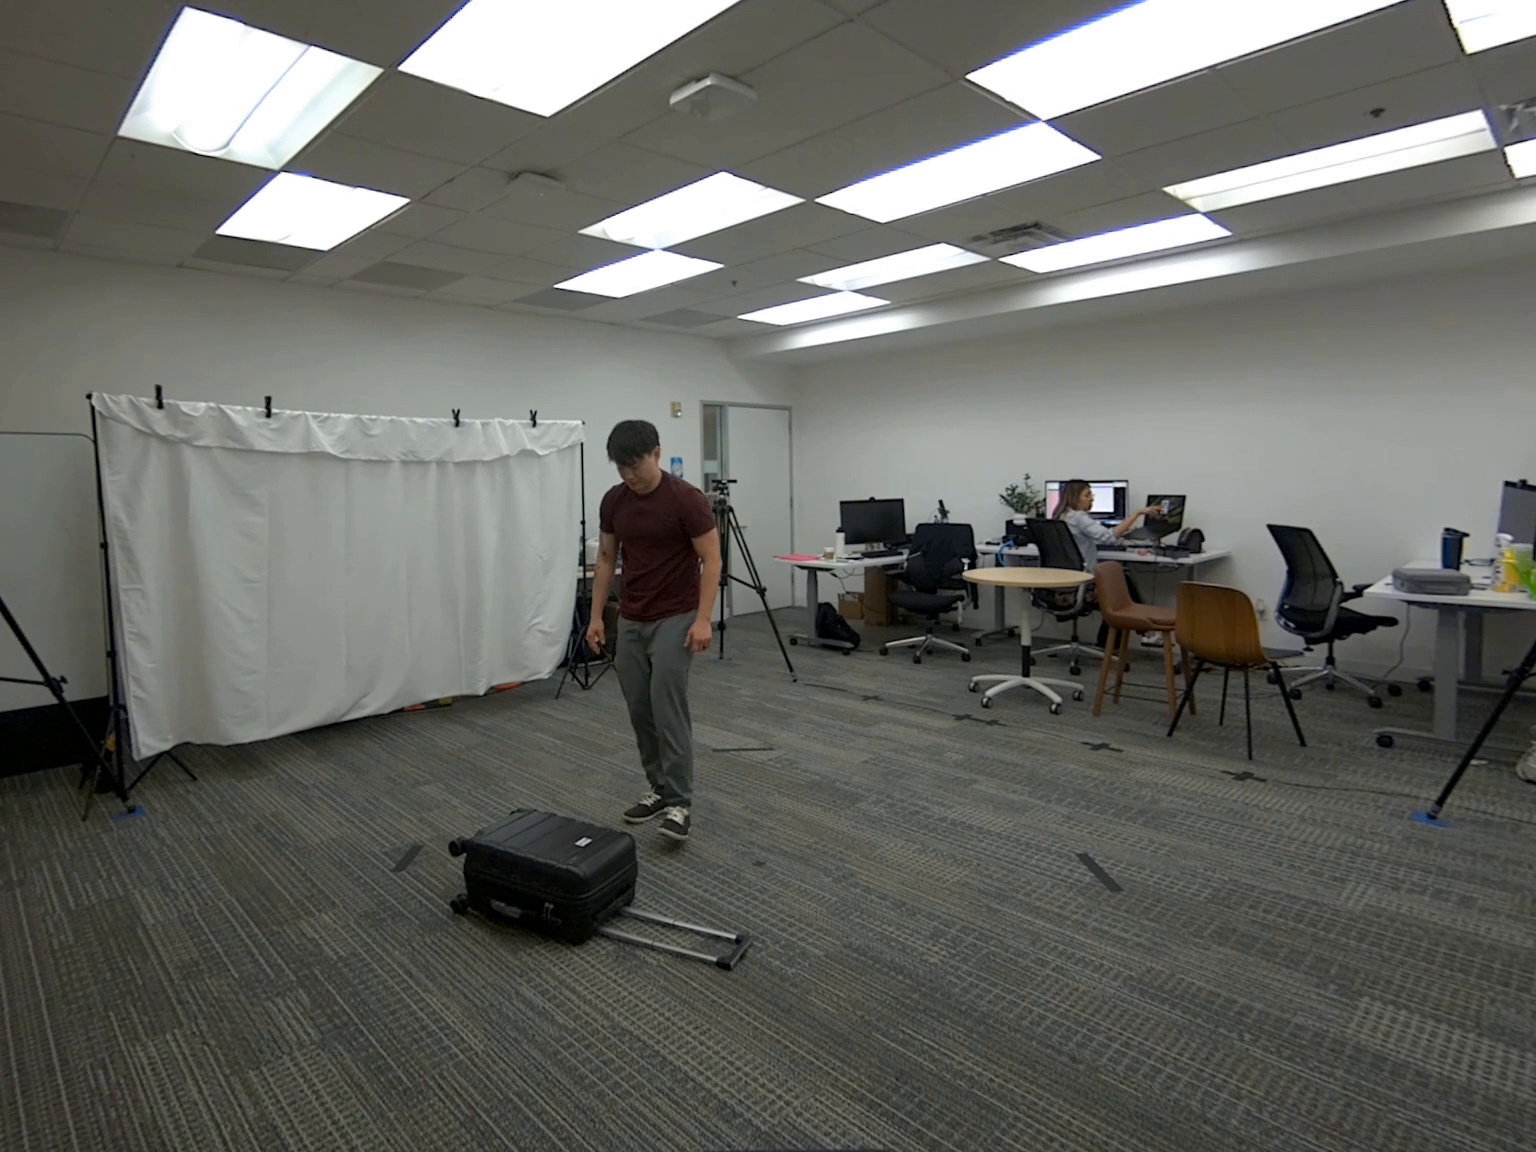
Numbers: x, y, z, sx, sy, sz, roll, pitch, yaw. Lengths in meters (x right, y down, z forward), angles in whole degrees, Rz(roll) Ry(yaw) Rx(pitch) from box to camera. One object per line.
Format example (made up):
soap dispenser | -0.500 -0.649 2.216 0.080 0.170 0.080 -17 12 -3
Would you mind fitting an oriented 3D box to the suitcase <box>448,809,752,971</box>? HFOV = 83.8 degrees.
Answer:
suitcase | -0.528 0.976 2.711 1.002 0.256 0.376 2 5 26
